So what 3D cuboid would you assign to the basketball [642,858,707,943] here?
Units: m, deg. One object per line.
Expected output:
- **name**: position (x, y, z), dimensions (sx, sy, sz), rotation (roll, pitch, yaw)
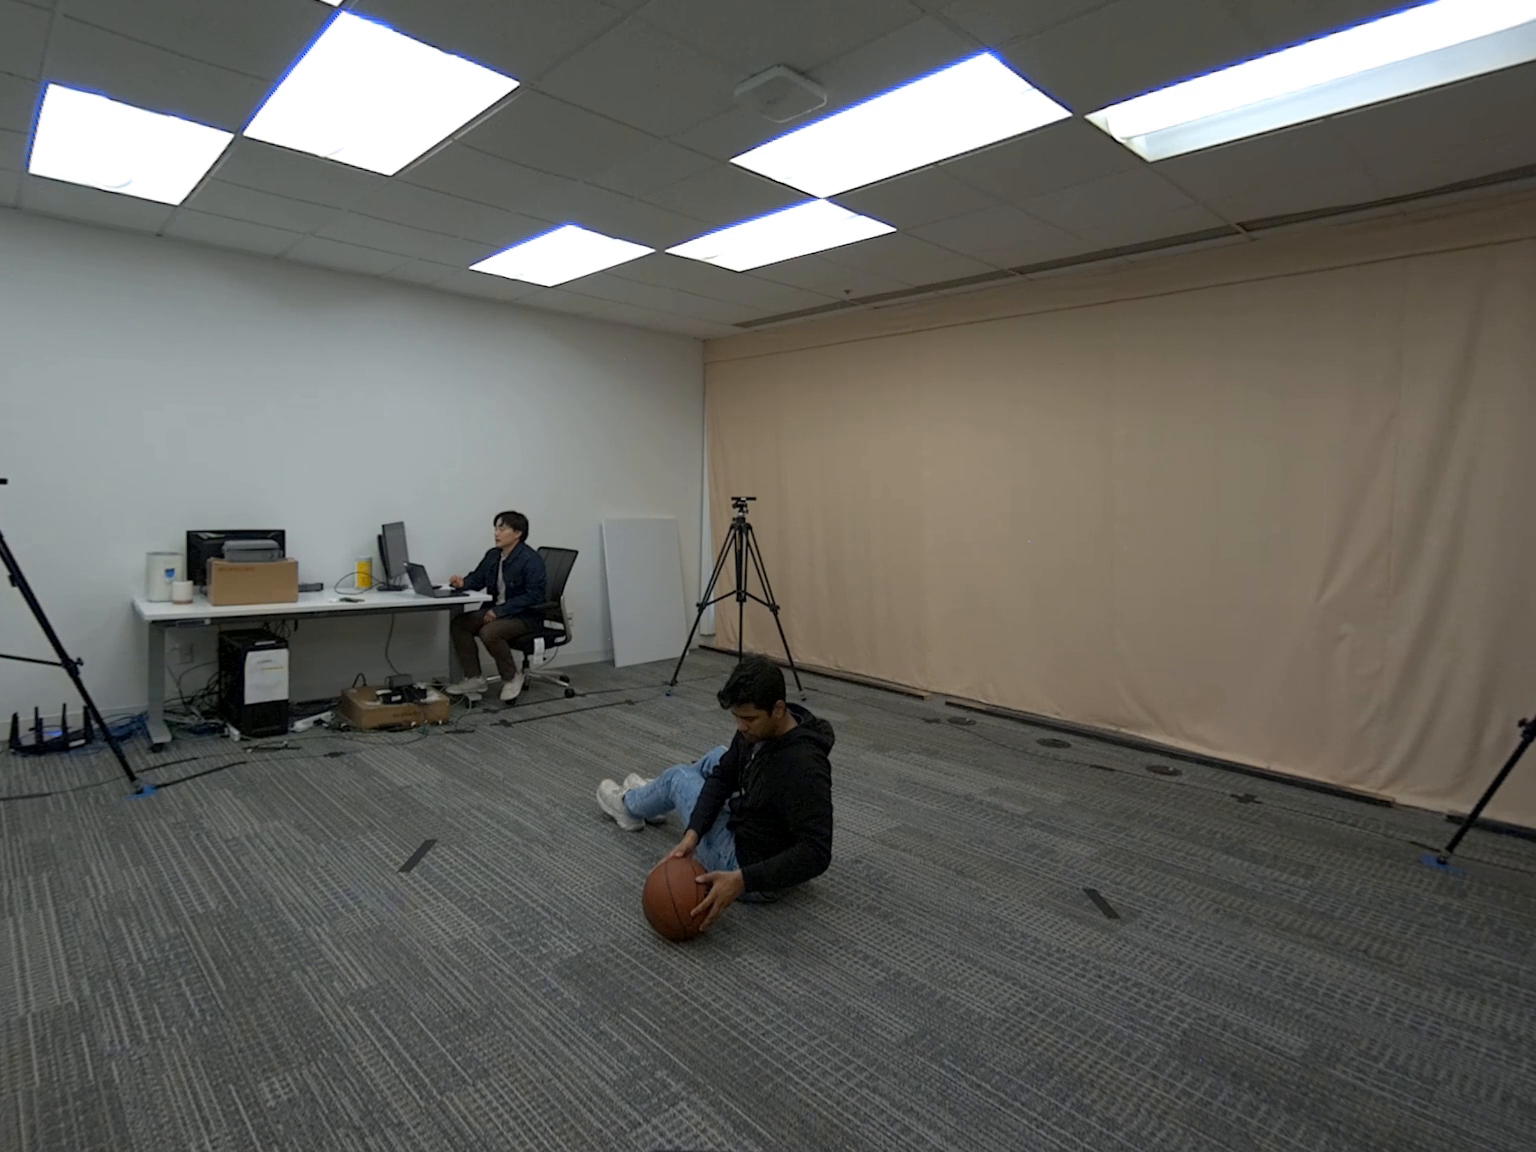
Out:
- **basketball**: position (-0.283, 1.017, 2.672), dimensions (0.236, 0.235, 0.237), rotation (1, 4, -1)
